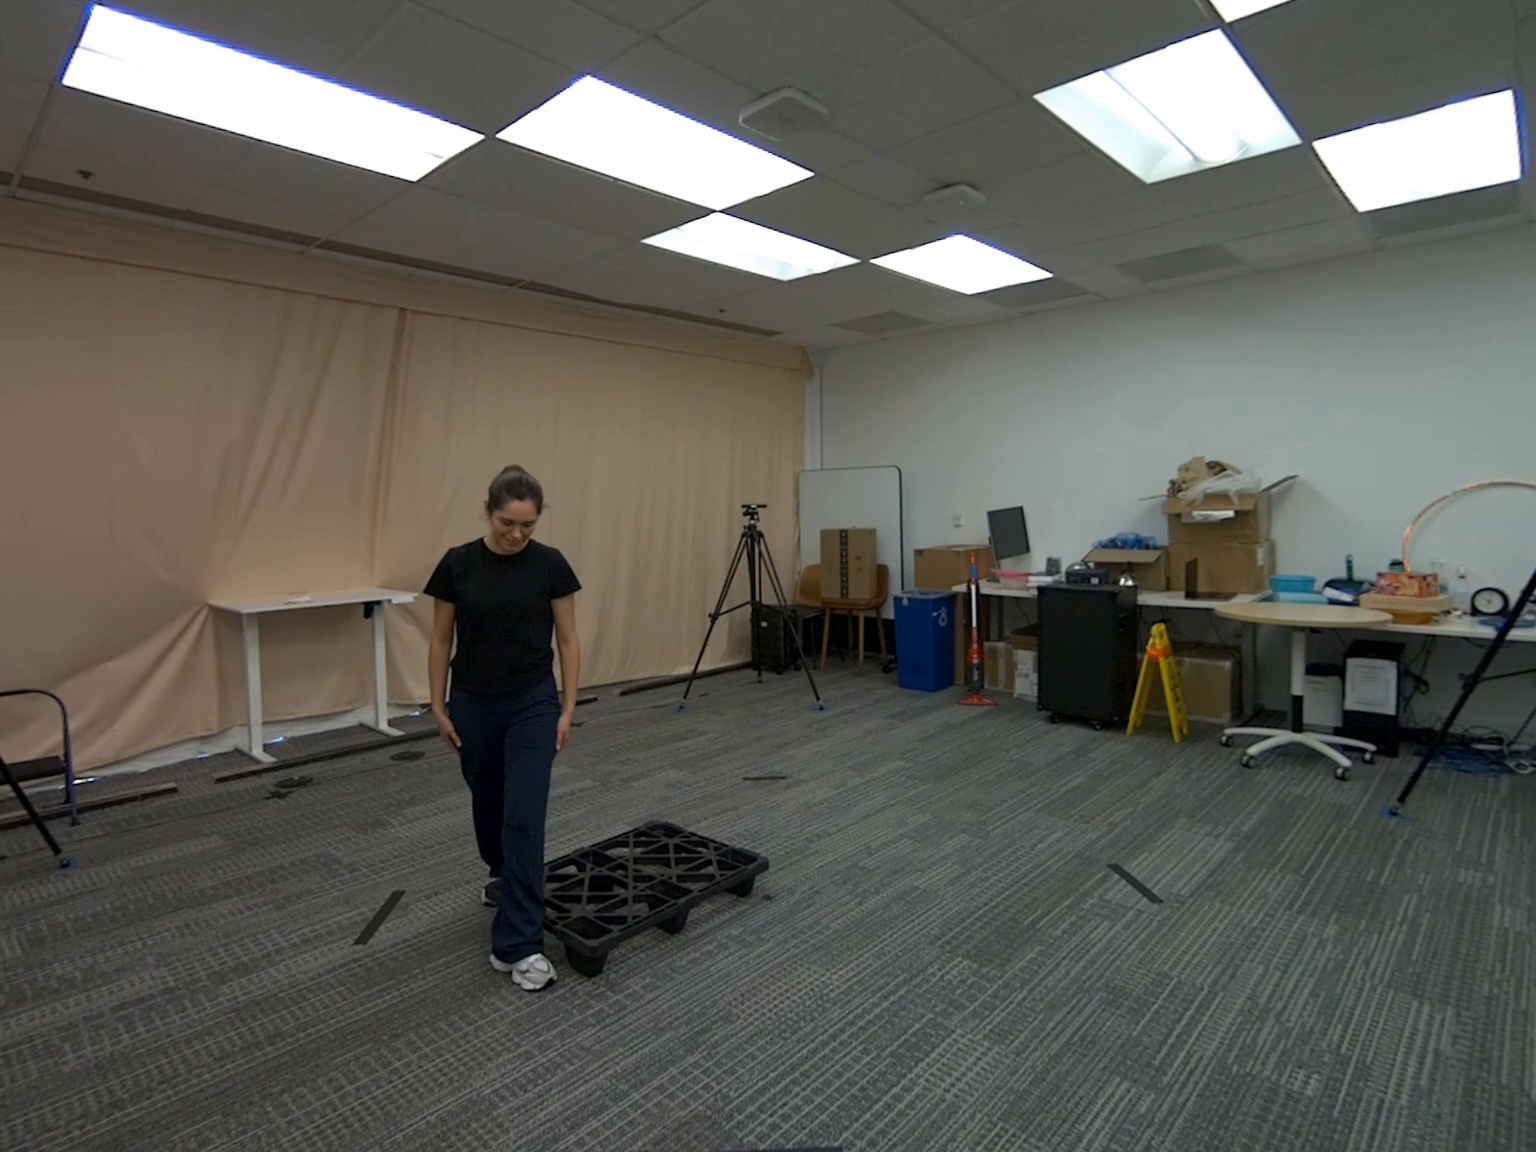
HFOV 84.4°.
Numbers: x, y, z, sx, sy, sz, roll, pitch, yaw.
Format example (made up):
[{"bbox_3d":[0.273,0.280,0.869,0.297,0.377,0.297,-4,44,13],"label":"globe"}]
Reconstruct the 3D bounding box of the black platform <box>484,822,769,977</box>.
[{"bbox_3d":[-0.452,1.088,2.913,0.625,0.143,0.782,4,8,41],"label":"black platform"}]
